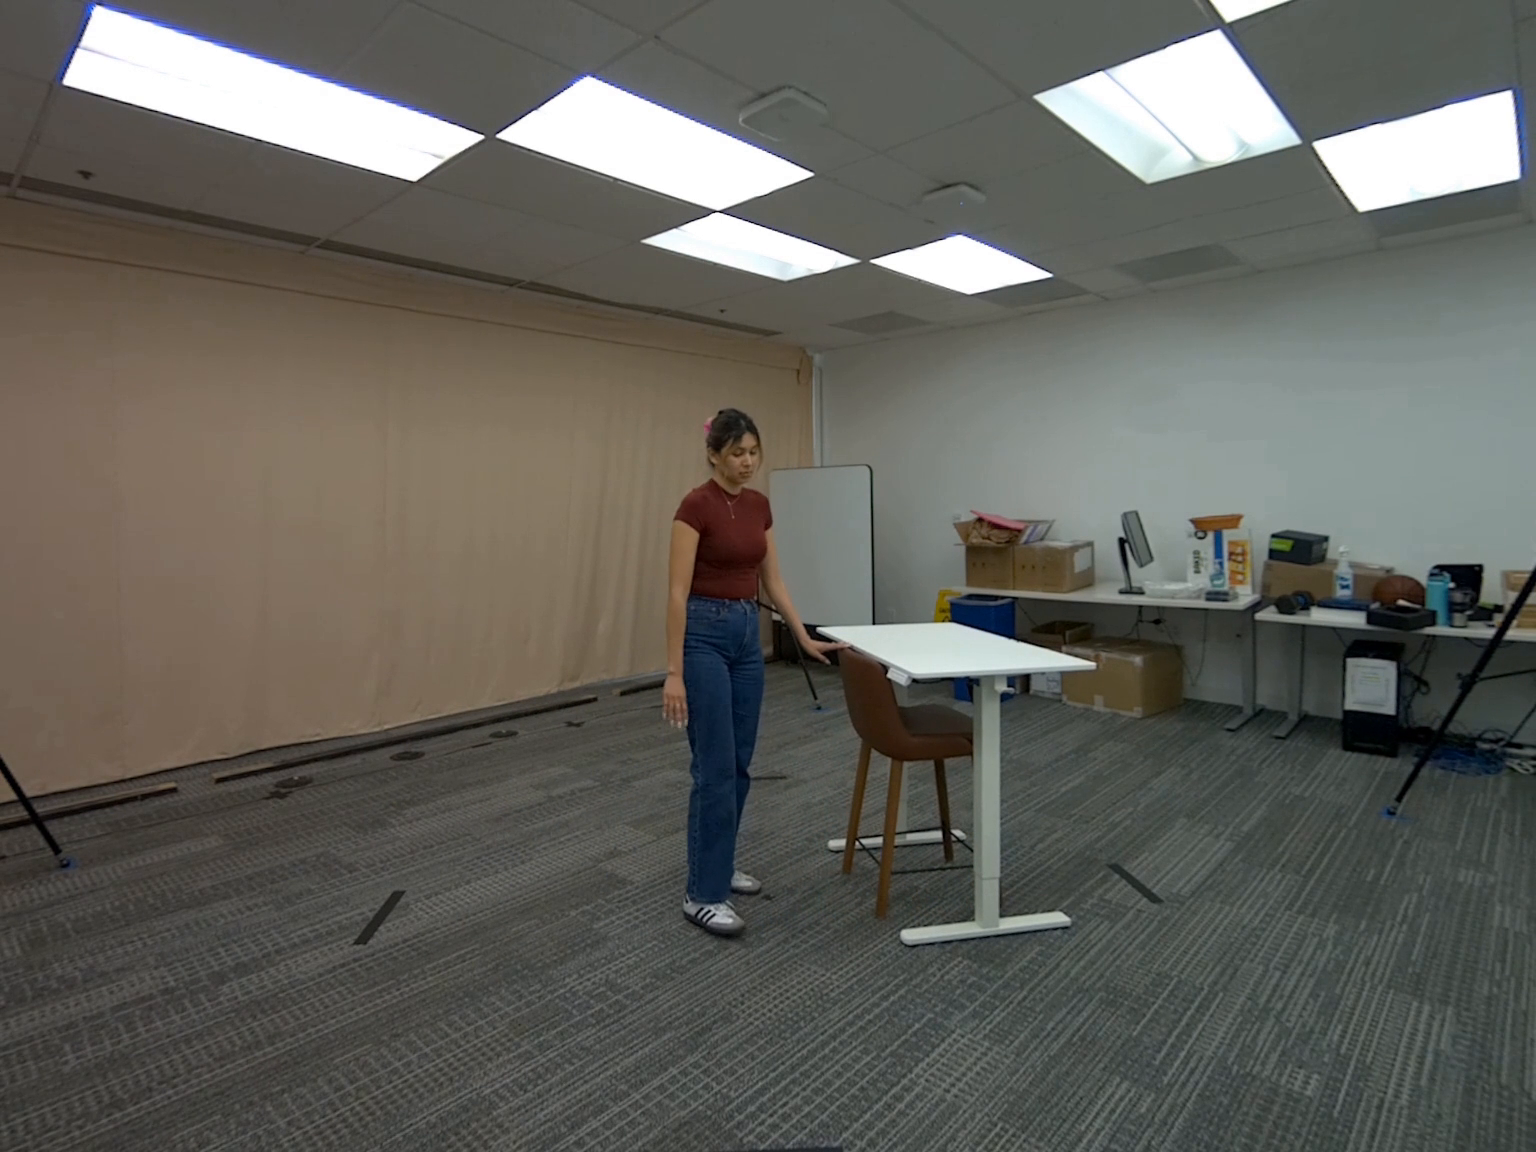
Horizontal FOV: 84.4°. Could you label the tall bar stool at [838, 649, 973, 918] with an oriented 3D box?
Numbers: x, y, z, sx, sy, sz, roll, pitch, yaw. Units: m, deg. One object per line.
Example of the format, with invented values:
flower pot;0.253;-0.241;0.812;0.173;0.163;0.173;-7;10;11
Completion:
tall bar stool;0.526;0.699;2.998;0.463;0.886;0.462;-3;5;-10
